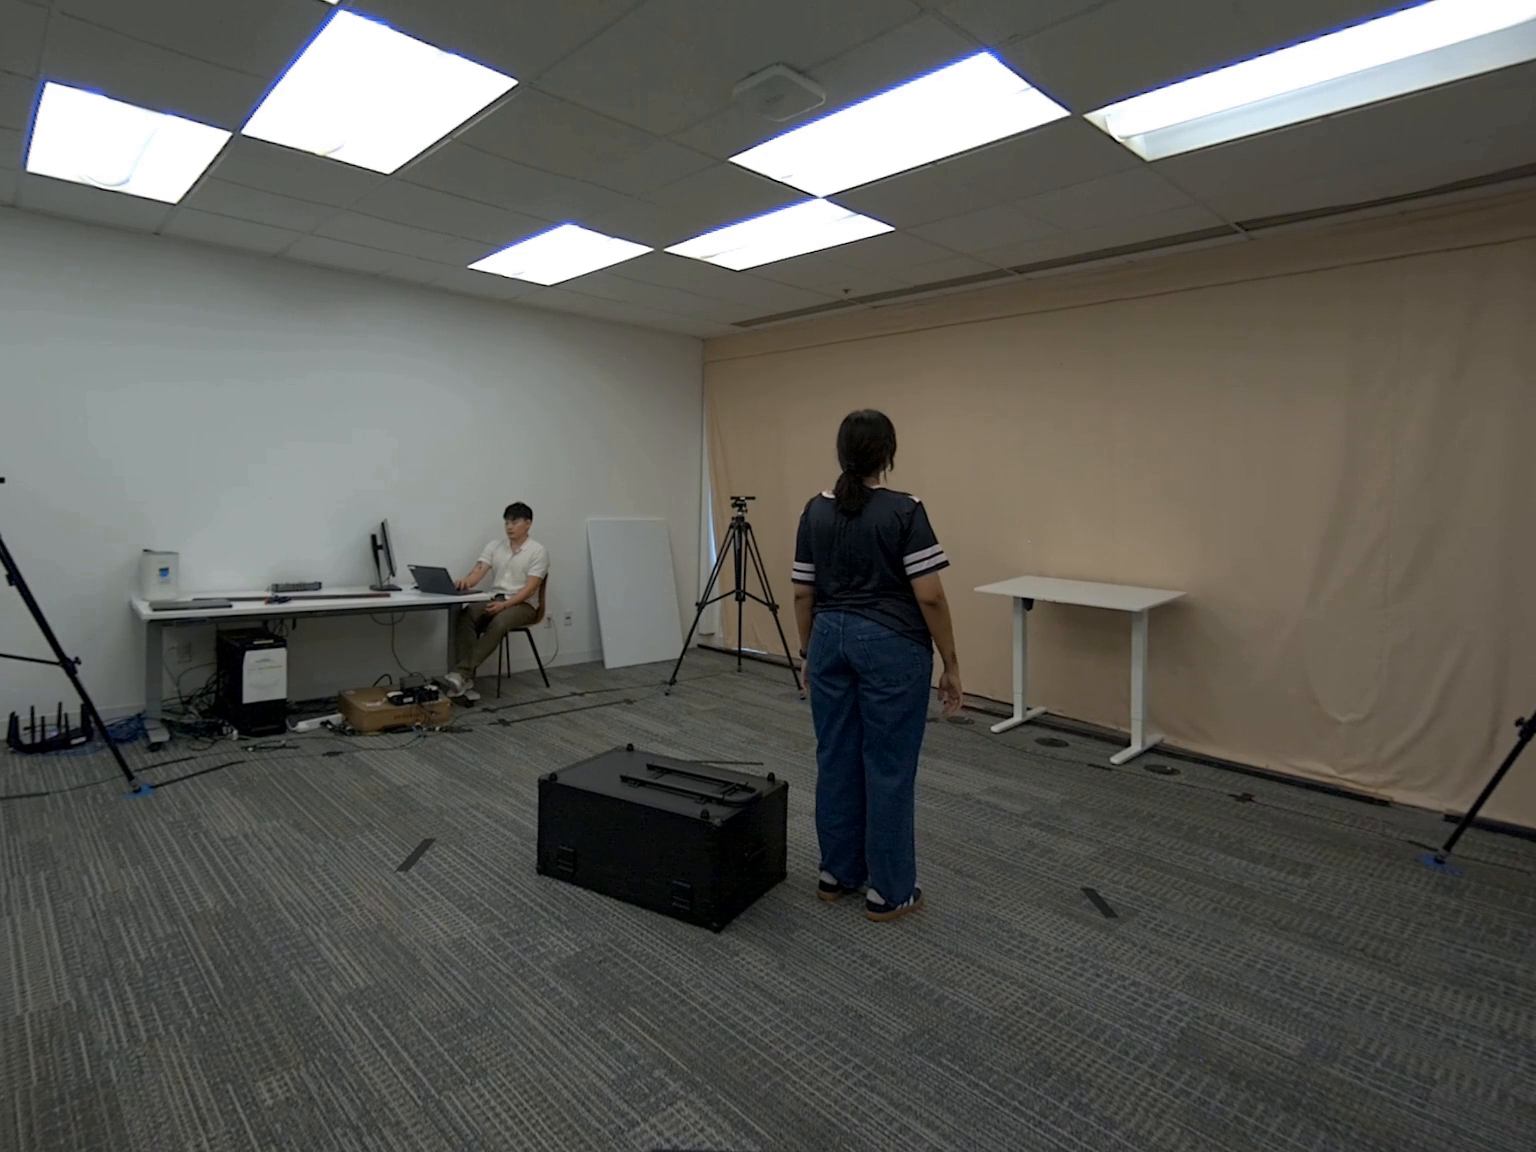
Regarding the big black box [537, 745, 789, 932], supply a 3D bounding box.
[{"bbox_3d":[-0.424,0.914,3.086,0.887,0.384,0.514,4,6,29],"label":"big black box"}]
